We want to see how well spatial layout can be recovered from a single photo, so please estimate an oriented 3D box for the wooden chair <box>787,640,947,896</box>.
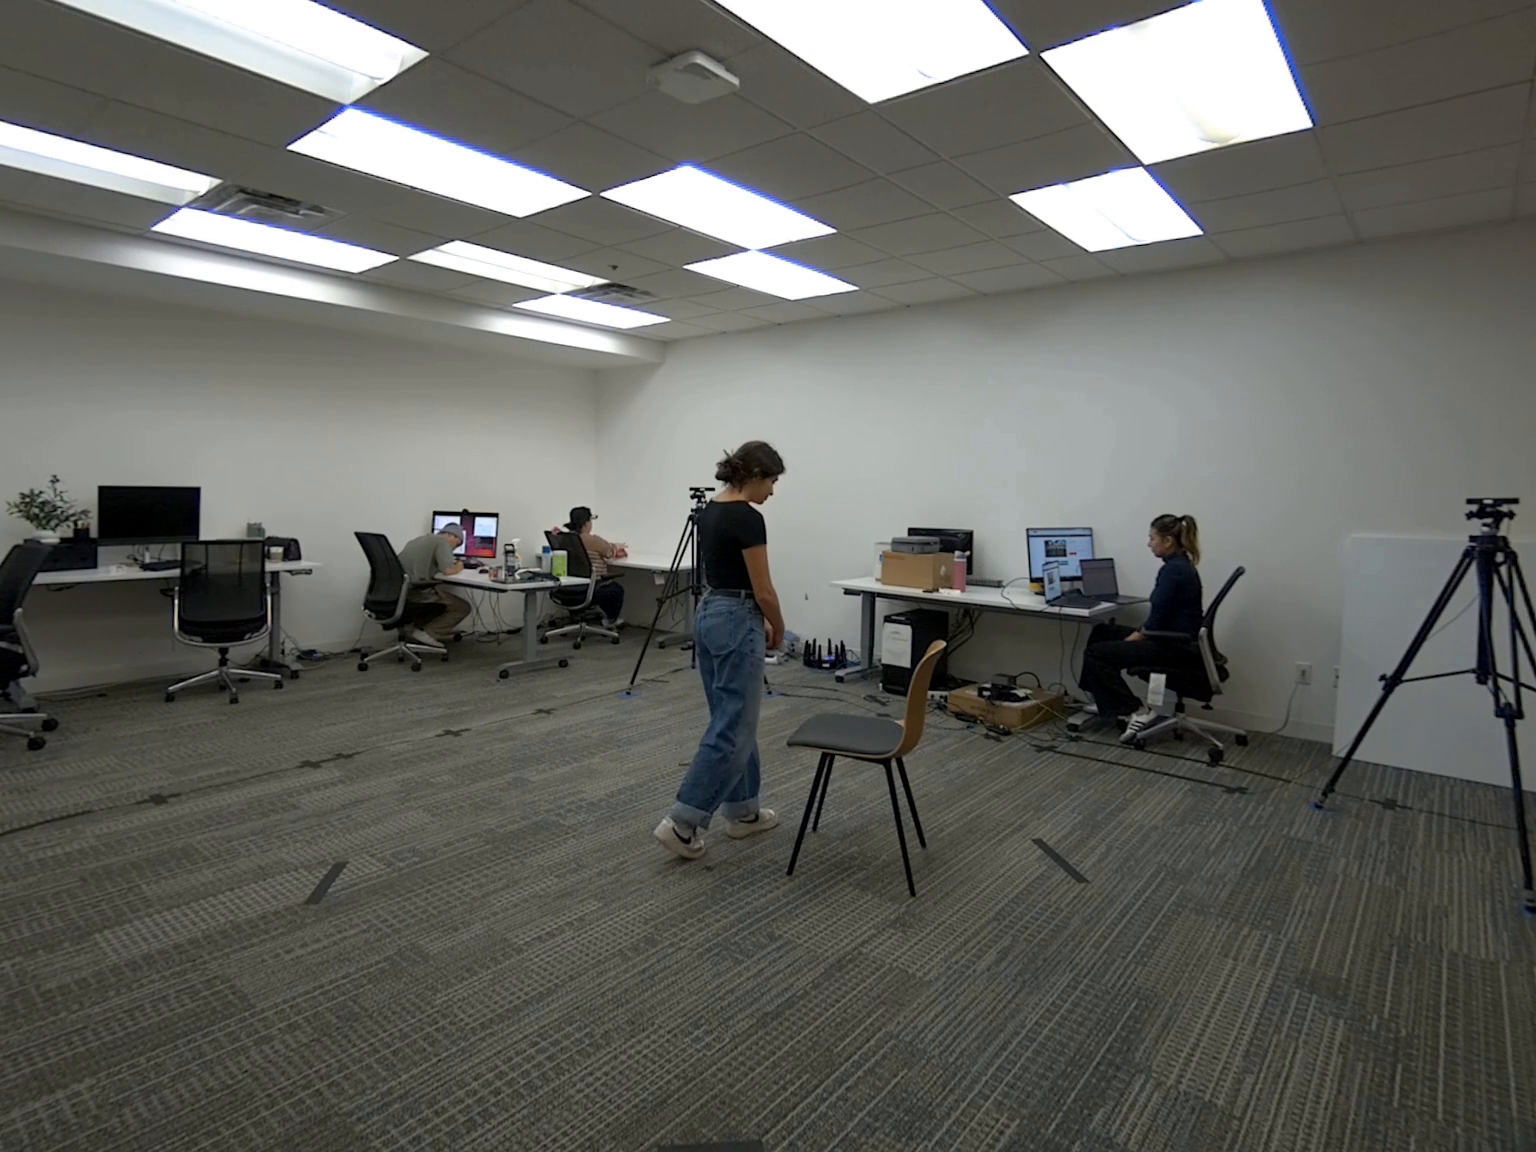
[{"bbox_3d":[0.342,0.647,3.179,0.534,0.874,0.470,7,5,17],"label":"wooden chair"}]
